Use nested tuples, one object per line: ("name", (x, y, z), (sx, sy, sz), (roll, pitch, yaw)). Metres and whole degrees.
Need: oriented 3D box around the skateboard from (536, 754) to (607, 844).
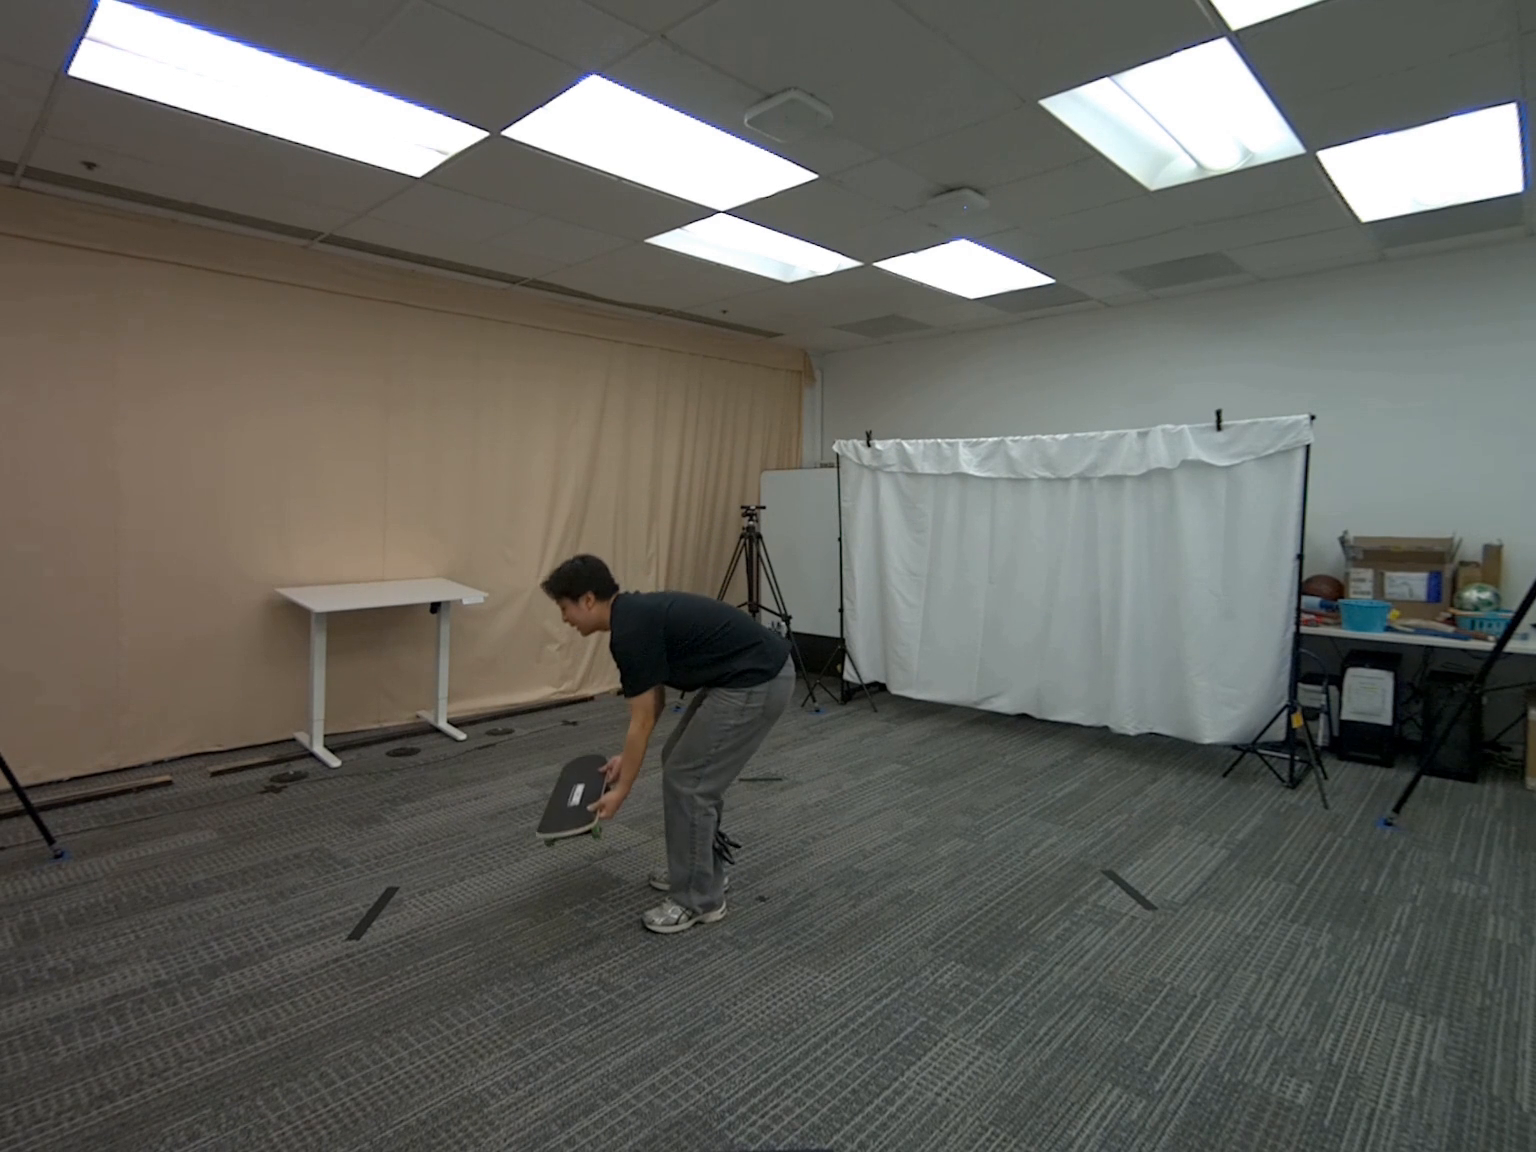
("skateboard", (-0.670, 0.781, 2.952), (0.193, 0.110, 0.791), (-7, 5, -5))
